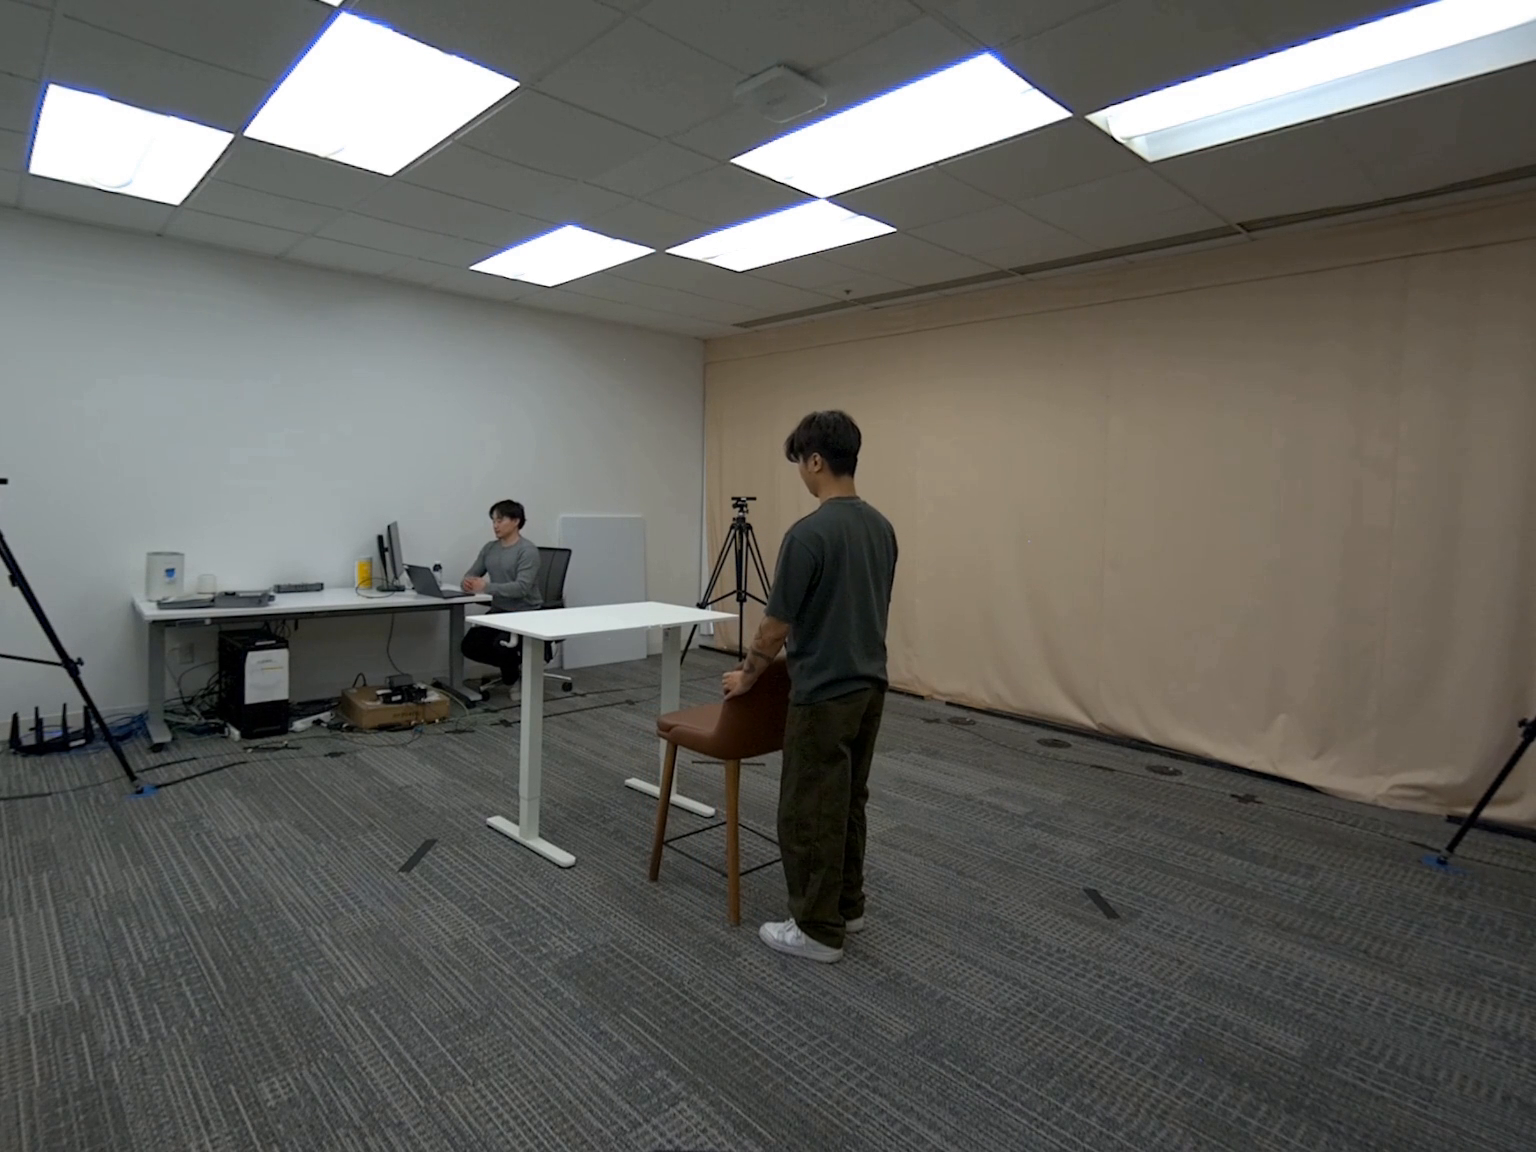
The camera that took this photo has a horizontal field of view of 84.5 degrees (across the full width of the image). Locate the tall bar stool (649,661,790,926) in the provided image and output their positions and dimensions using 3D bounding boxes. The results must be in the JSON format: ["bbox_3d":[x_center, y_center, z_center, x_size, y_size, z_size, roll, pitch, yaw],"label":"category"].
[{"bbox_3d":[-0.122,0.680,2.993,0.446,0.886,0.480,-2,7,-44],"label":"tall bar stool"}]
